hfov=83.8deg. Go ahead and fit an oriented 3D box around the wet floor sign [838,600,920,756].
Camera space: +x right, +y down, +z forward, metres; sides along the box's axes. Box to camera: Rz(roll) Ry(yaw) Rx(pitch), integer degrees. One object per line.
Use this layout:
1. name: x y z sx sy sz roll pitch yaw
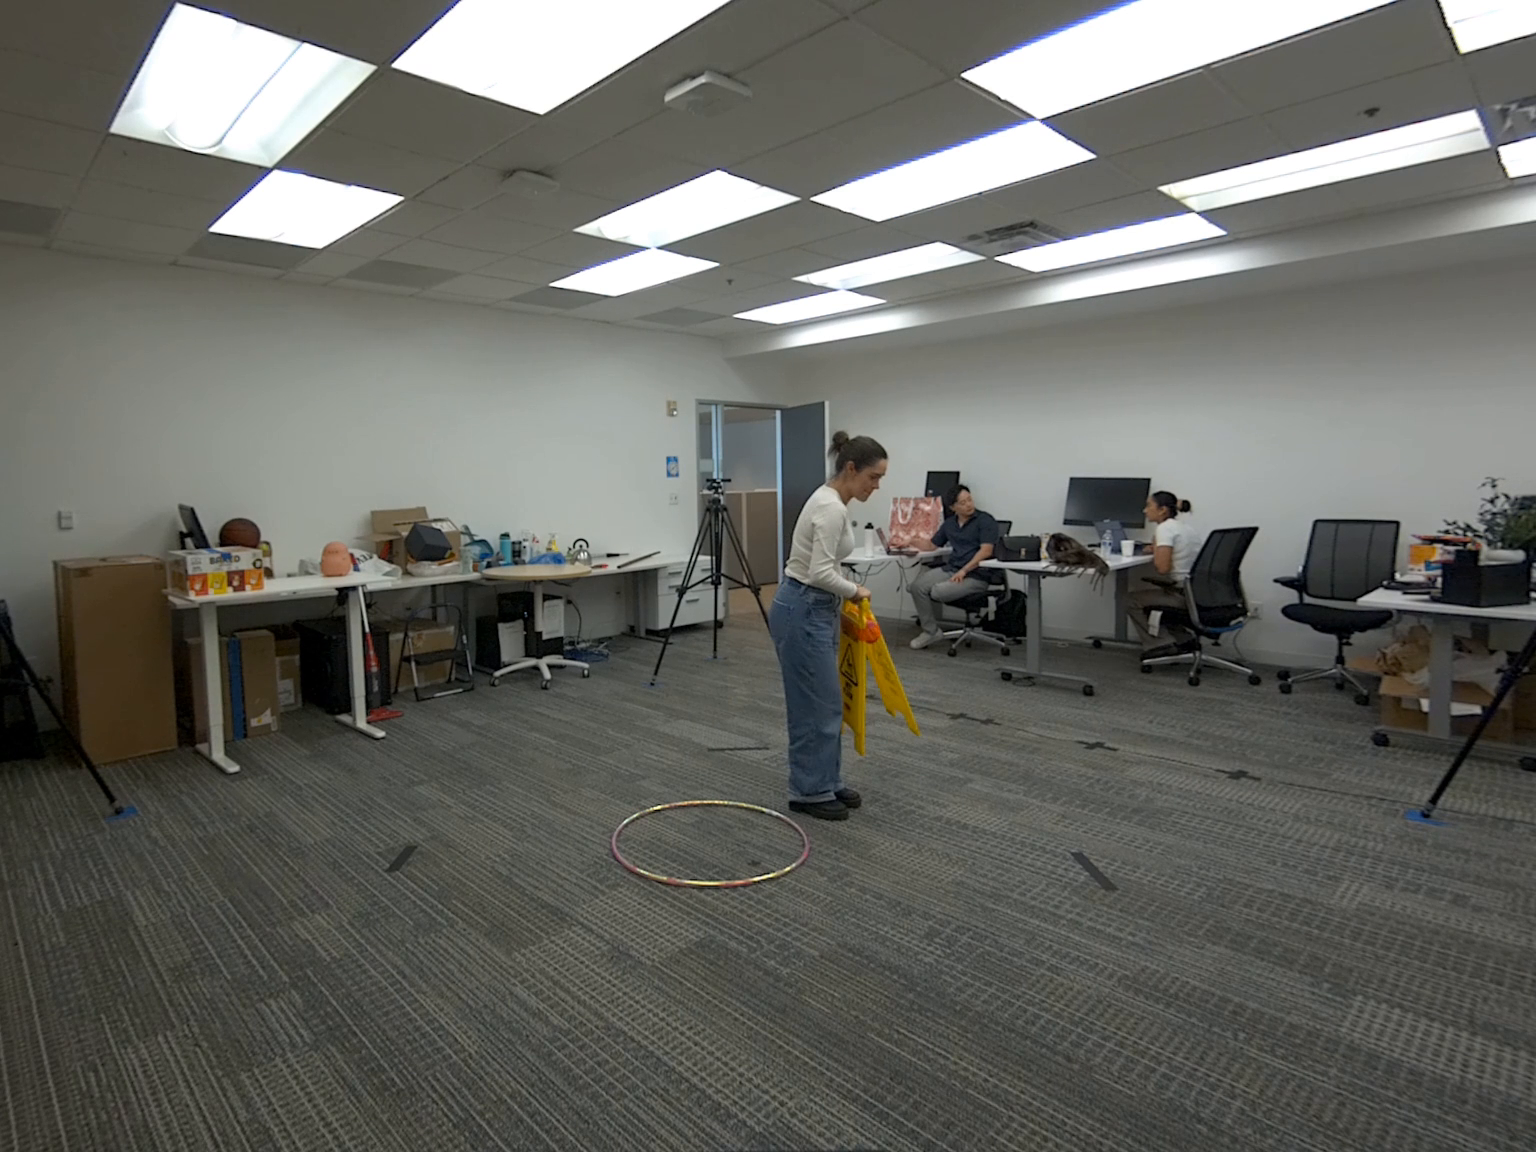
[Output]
1. wet floor sign: 0.417 0.369 3.580 0.287 0.635 0.290 -15 17 -16
